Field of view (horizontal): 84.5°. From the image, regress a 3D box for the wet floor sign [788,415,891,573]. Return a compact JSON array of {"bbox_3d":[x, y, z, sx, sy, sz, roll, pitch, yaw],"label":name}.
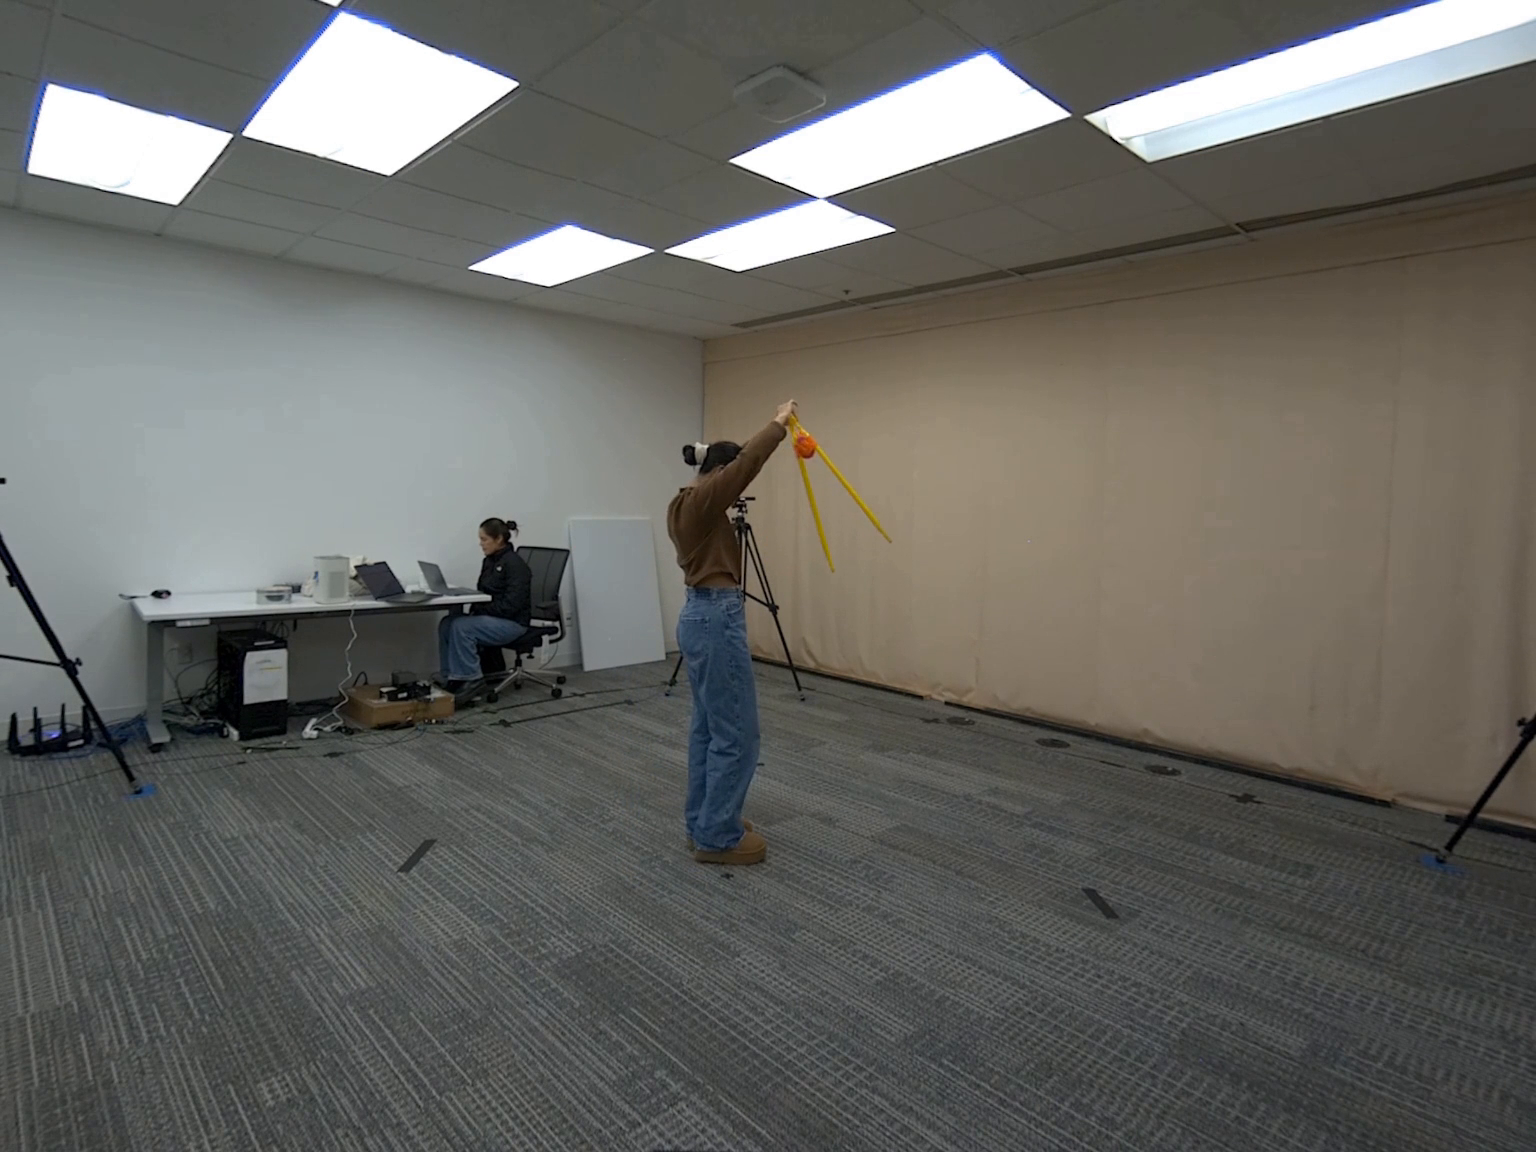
[{"bbox_3d":[0.222,-0.379,3.438,0.290,0.639,0.285,-26,11,5],"label":"wet floor sign"}]
